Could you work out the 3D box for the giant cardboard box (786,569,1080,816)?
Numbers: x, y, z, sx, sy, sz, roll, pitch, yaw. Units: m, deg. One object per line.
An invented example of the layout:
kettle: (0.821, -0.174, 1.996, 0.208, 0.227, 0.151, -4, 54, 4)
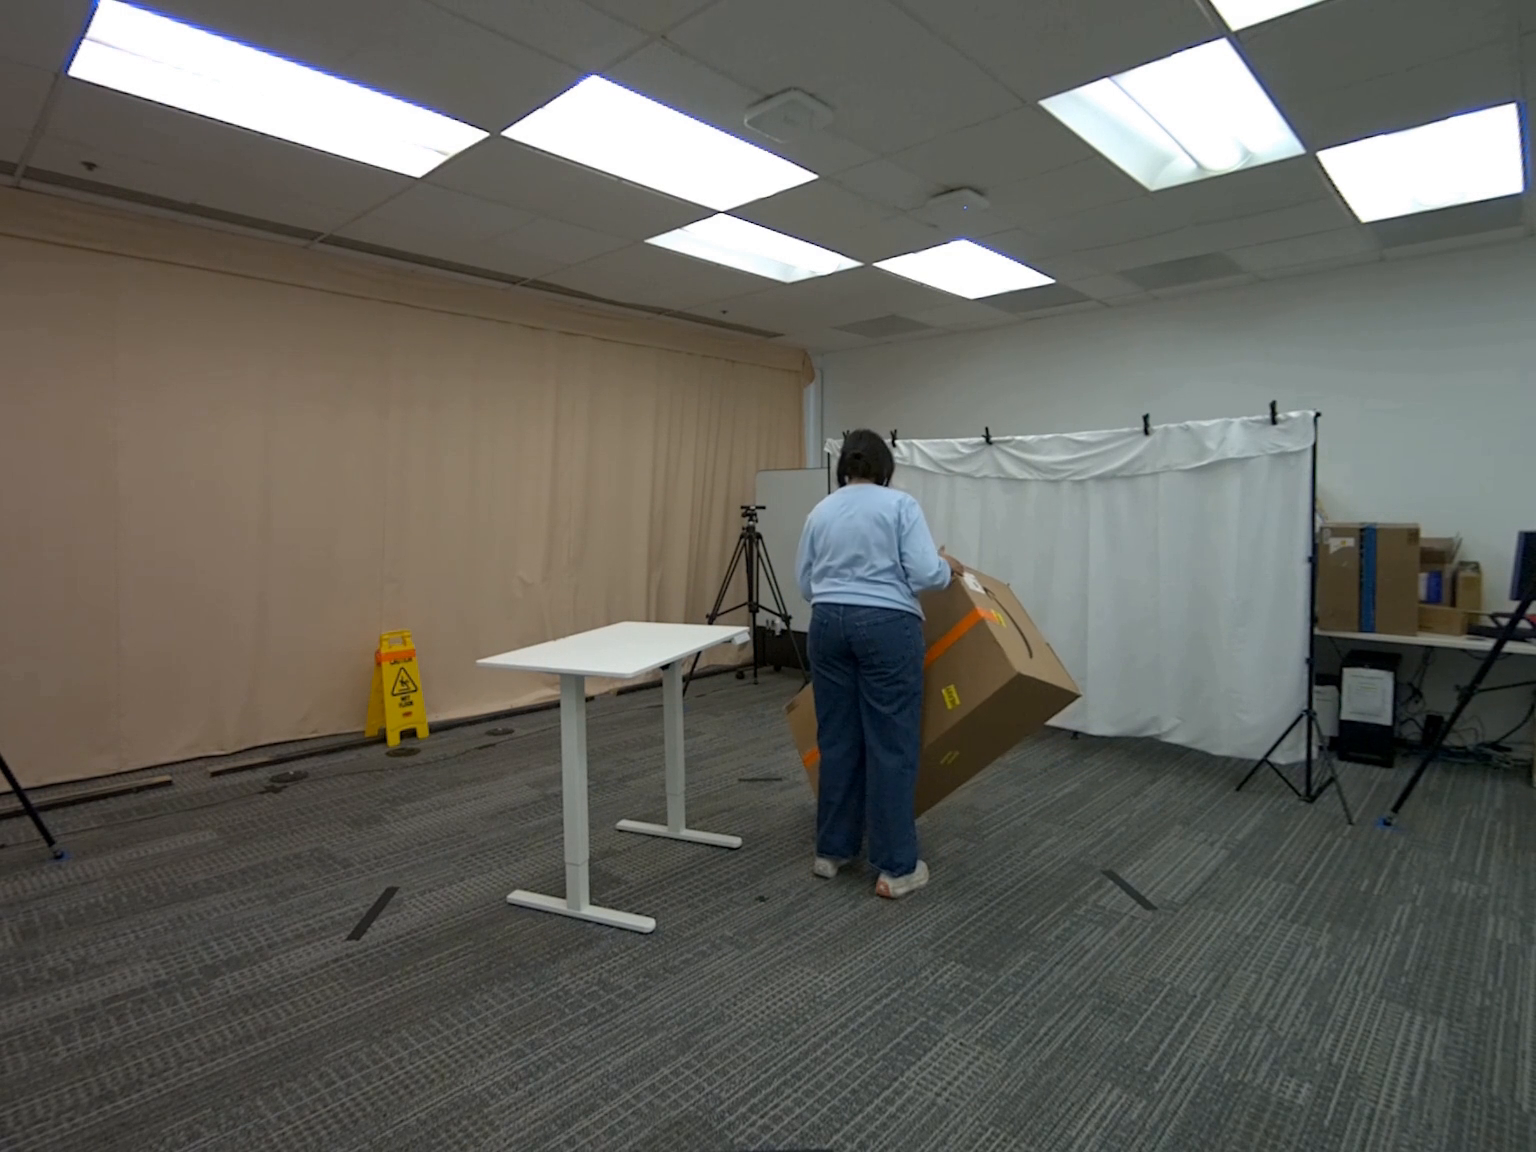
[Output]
giant cardboard box: (0.615, 0.517, 3.434, 0.411, 0.594, 1.032, 20, -55, -38)
